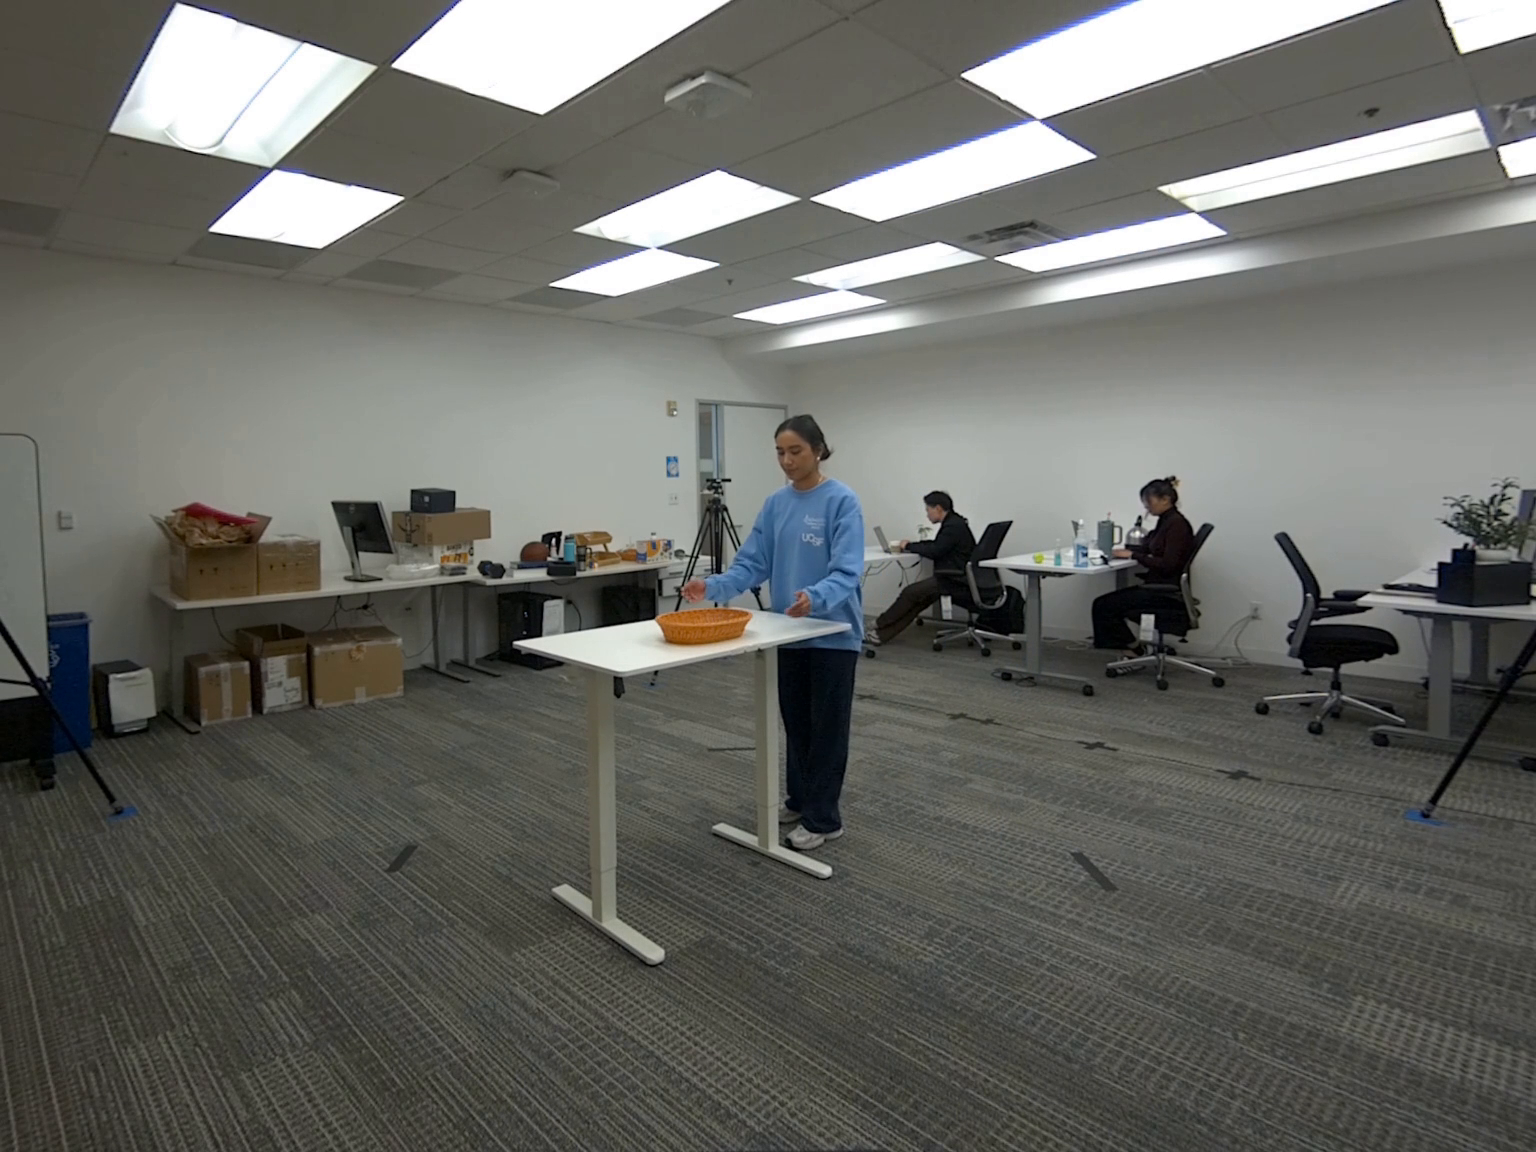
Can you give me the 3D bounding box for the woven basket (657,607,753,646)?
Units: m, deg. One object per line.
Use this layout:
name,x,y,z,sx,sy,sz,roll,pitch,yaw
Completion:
woven basket,-0.192,0.172,2.800,0.260,0.073,0.341,6,9,44
